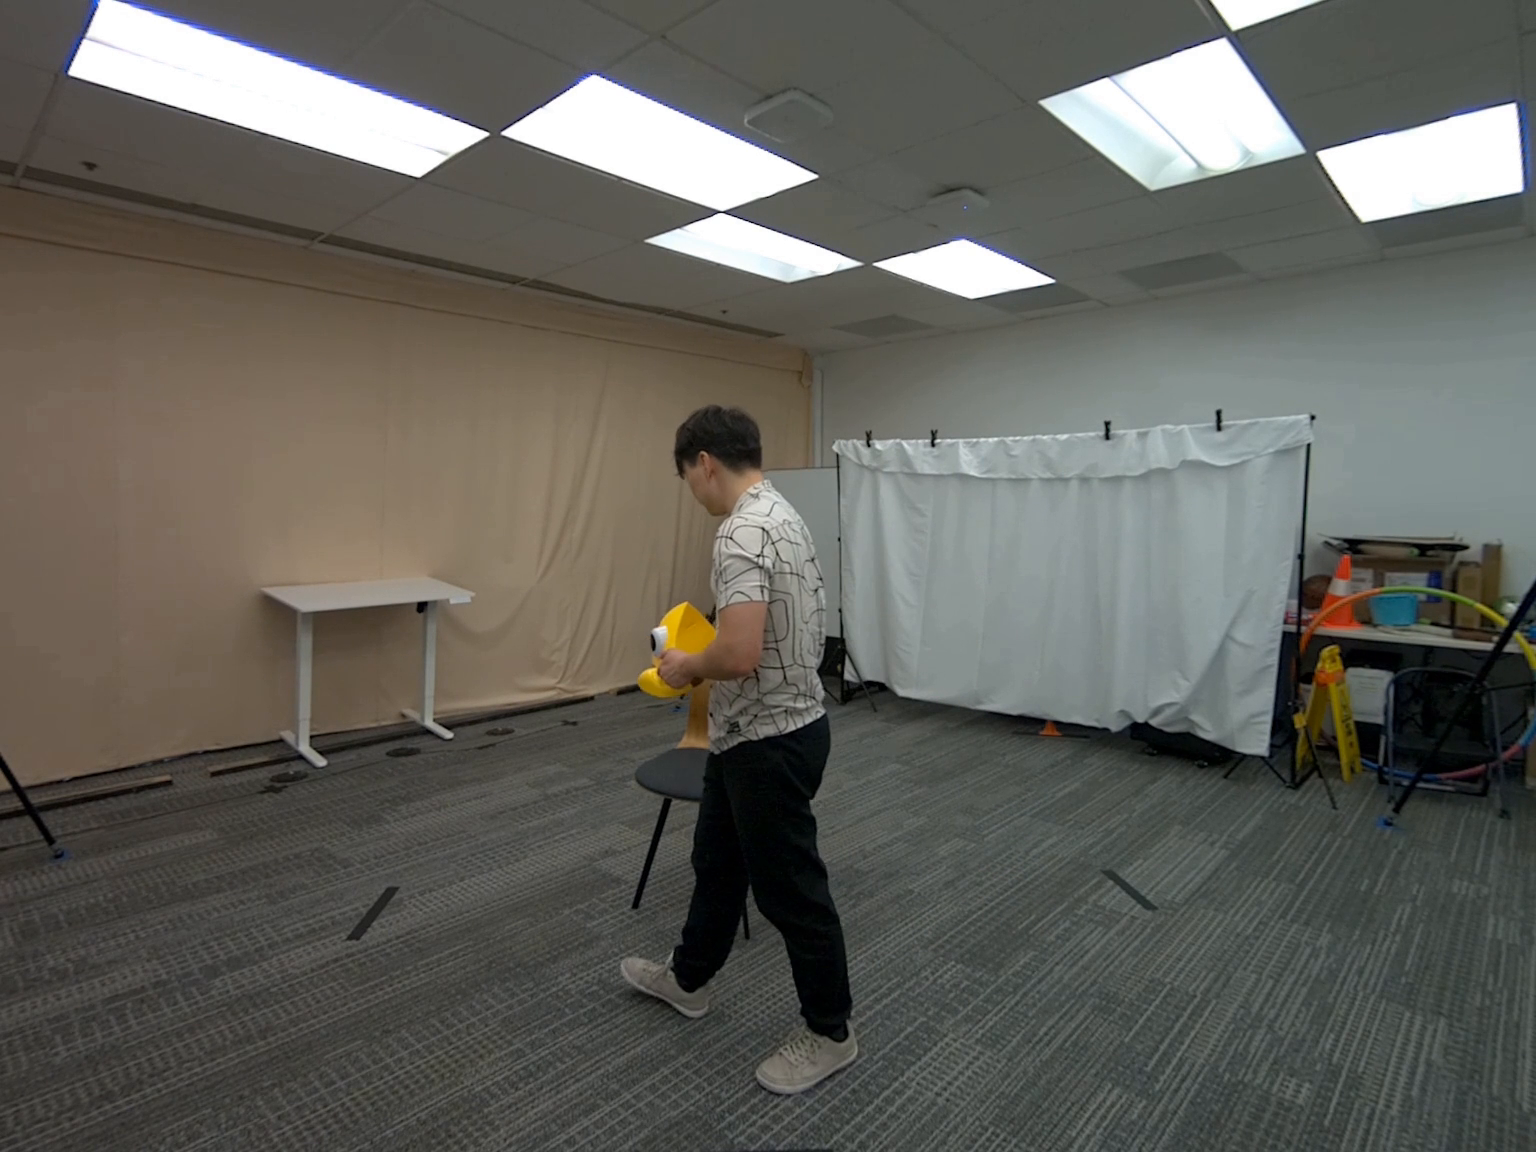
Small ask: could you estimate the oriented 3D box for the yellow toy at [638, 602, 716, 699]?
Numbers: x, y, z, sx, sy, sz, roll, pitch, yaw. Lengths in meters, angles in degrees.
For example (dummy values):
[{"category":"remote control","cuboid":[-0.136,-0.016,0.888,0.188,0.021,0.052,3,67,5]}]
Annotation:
[{"category":"yellow toy","cuboid":[-0.240,0.165,2.175,0.200,0.227,0.200,11,26,37]}]
